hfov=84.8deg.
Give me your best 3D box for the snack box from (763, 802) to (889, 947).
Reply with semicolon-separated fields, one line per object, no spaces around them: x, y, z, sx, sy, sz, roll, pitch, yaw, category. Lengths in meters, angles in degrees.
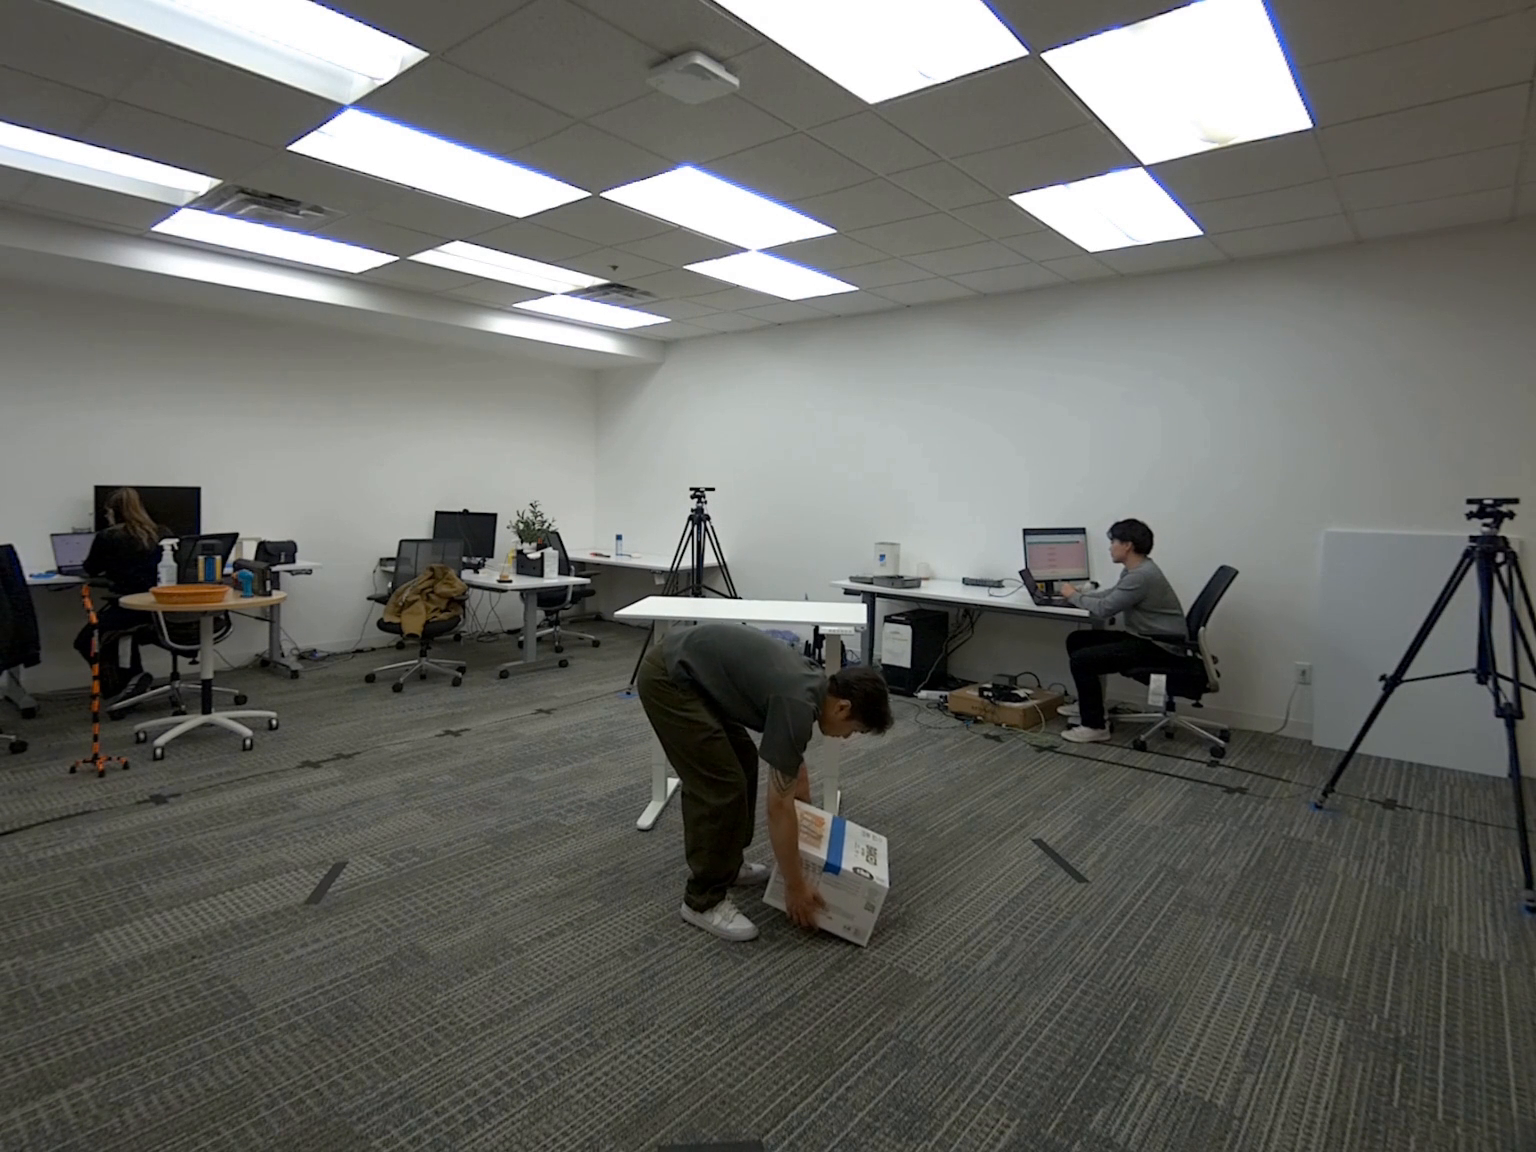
0.191;0.961;2.794;0.344;0.205;0.402;20;7;7;snack box
